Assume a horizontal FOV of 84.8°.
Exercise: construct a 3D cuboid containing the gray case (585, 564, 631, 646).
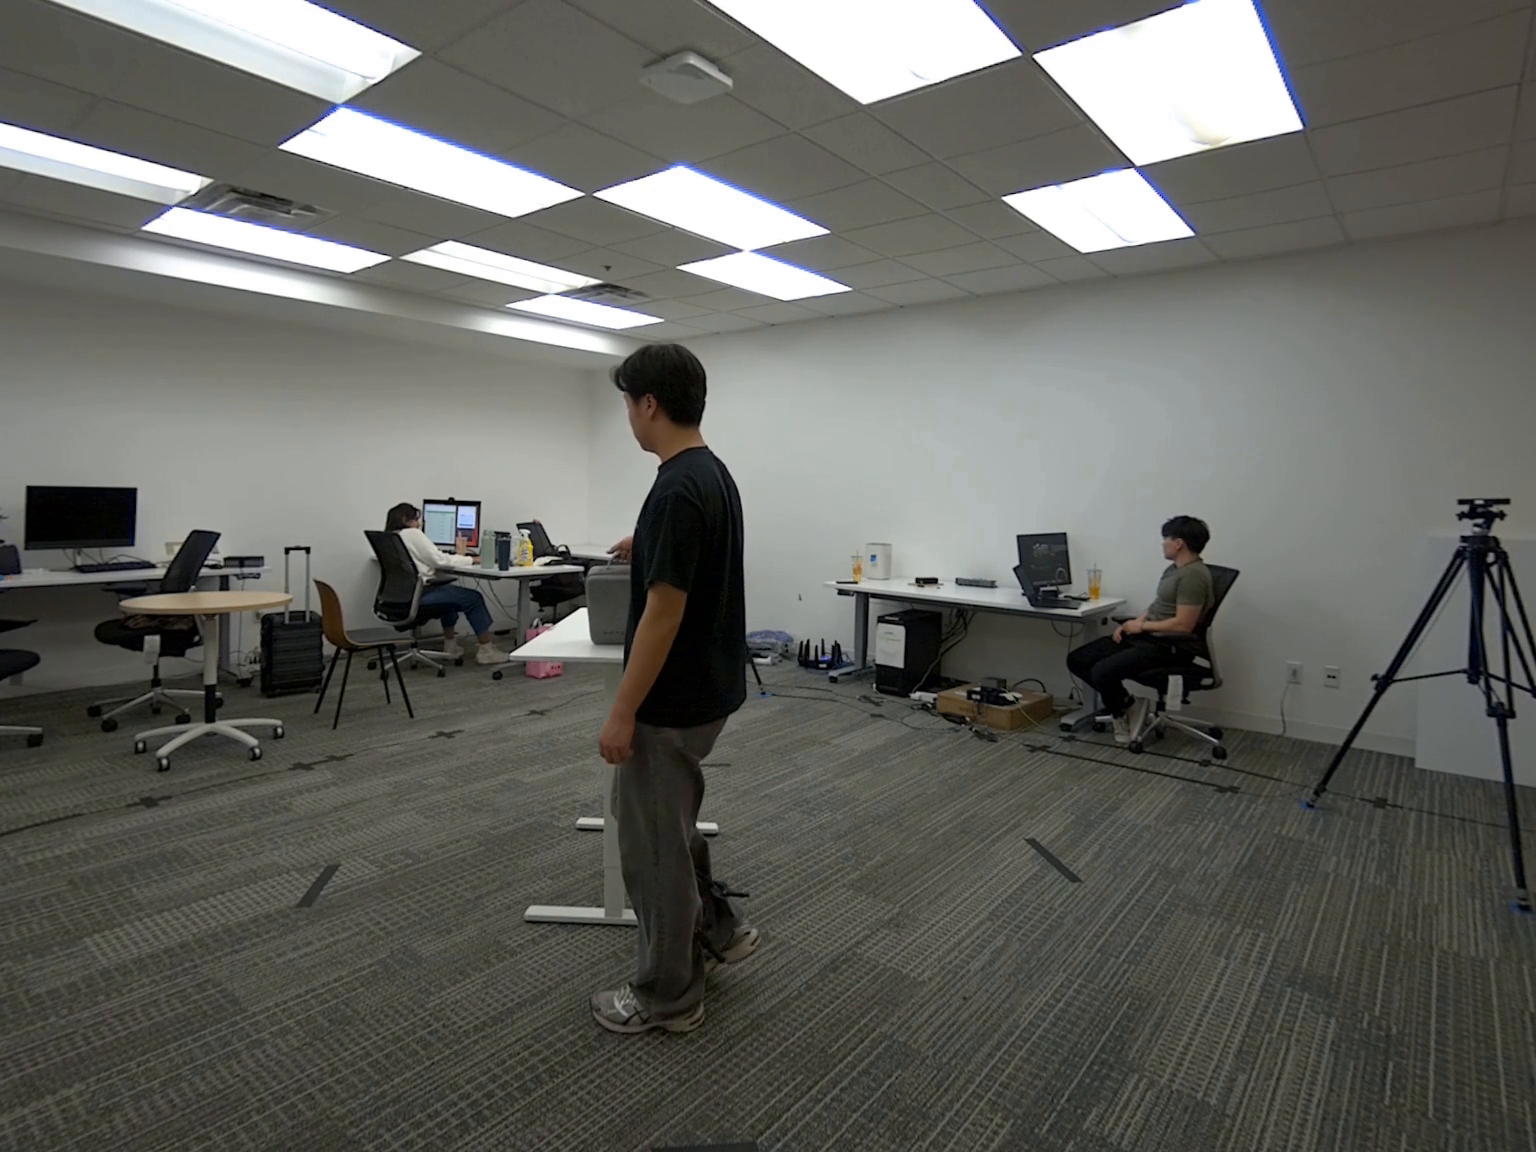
[{"bbox_3d":[-0.467,0.081,2.725,0.264,0.282,0.105,1,21,2],"label":"gray case"}]
